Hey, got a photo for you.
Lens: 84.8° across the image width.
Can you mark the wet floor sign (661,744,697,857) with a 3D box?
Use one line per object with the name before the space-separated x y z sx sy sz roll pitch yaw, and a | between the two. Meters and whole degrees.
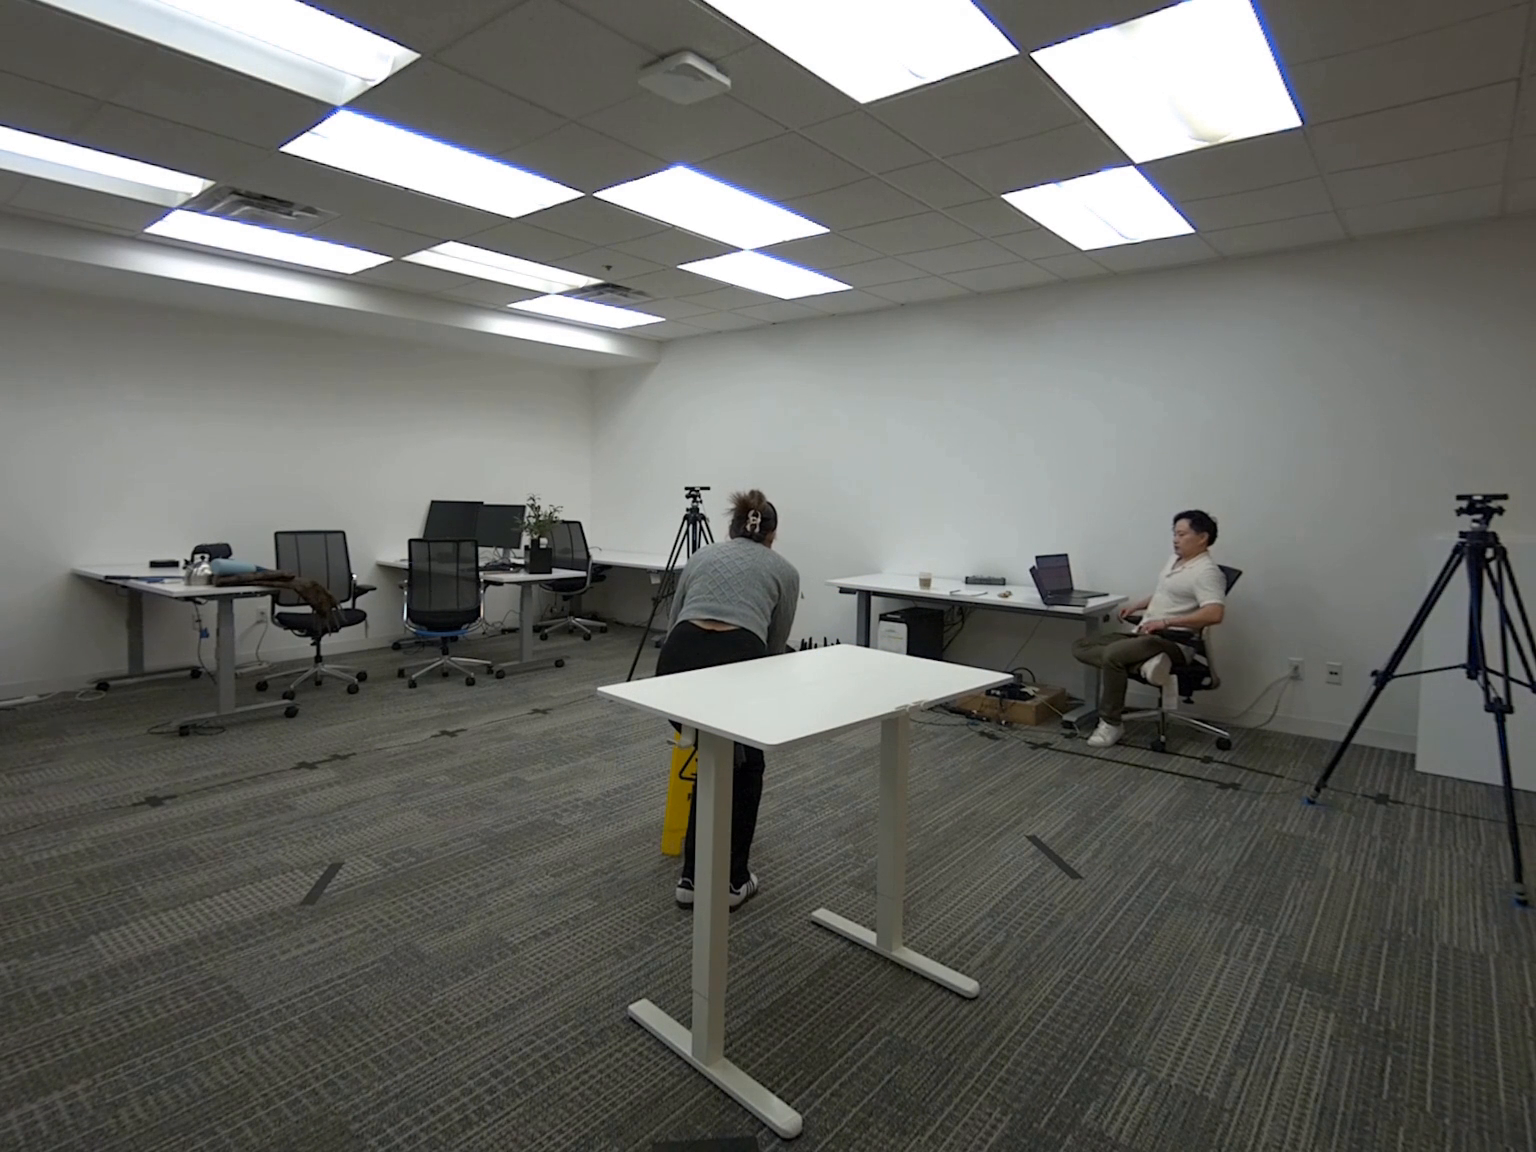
wet floor sign | -0.242 0.705 3.287 0.288 0.642 0.286 4 7 17
